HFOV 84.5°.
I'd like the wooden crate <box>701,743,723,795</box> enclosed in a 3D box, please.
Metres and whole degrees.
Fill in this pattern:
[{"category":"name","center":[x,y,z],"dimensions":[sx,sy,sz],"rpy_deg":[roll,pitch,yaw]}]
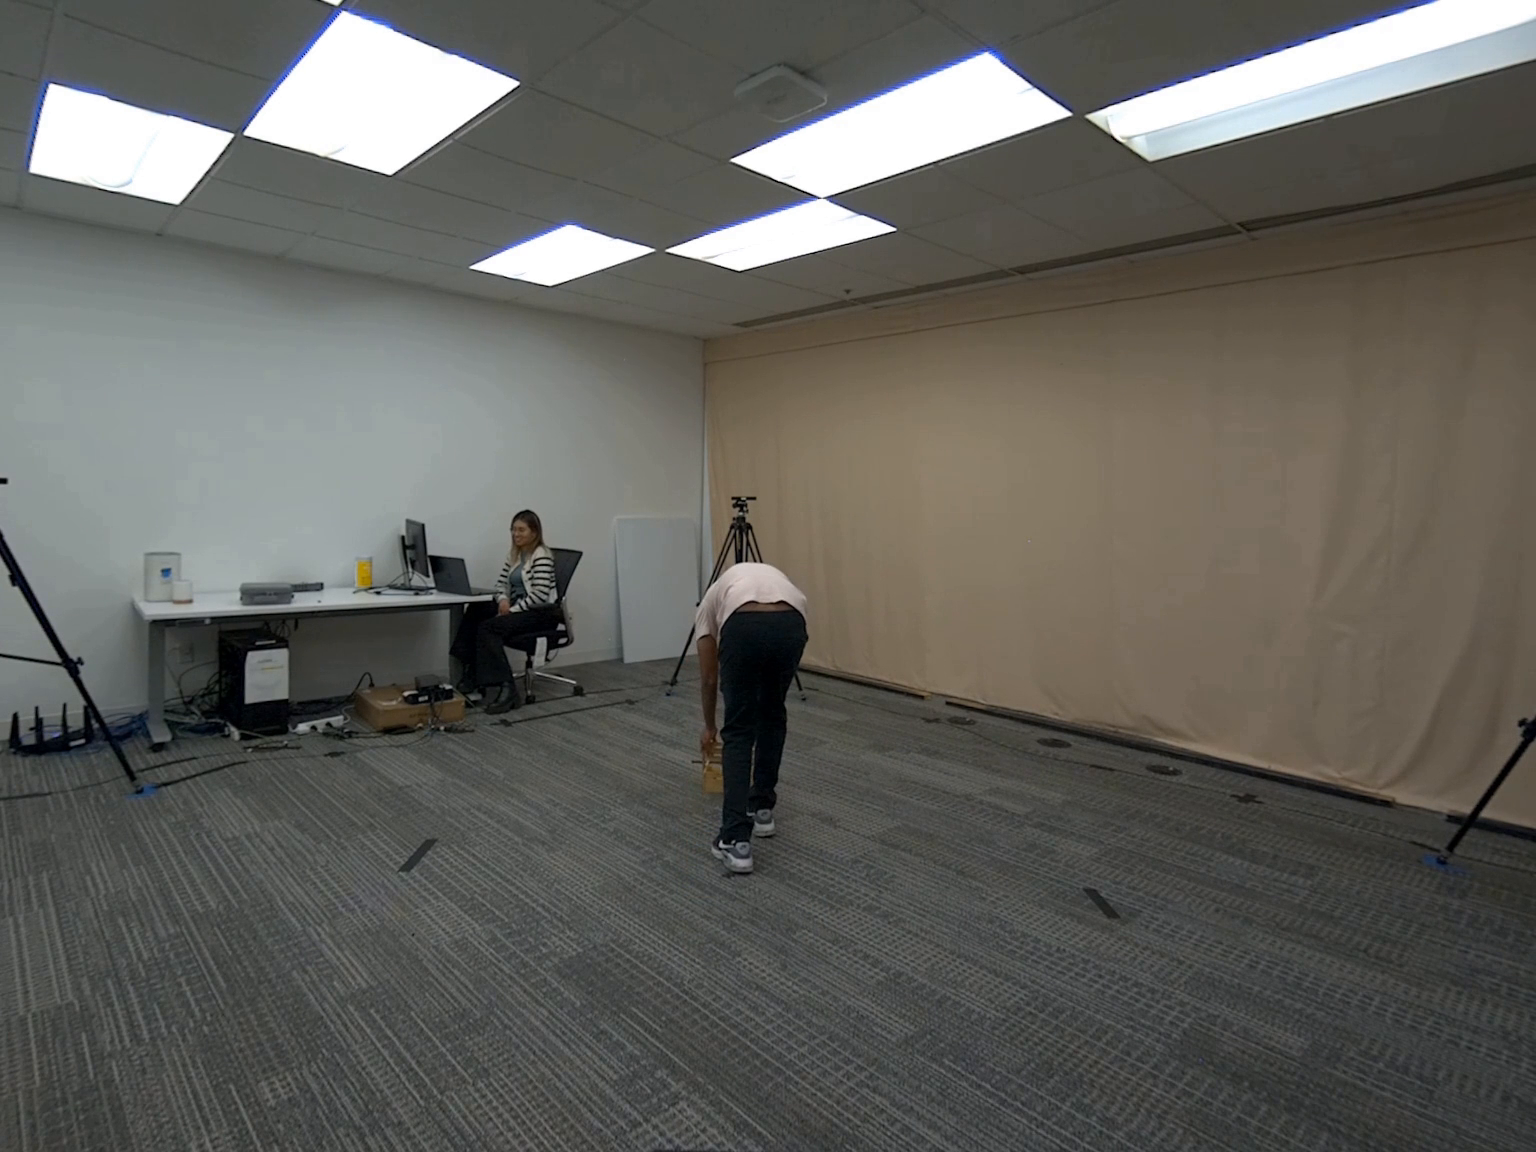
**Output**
[{"category":"wooden crate","center":[-0.162,0.889,4.080],"dimensions":[0.325,0.272,0.302],"rpy_deg":[2,4,2]}]
